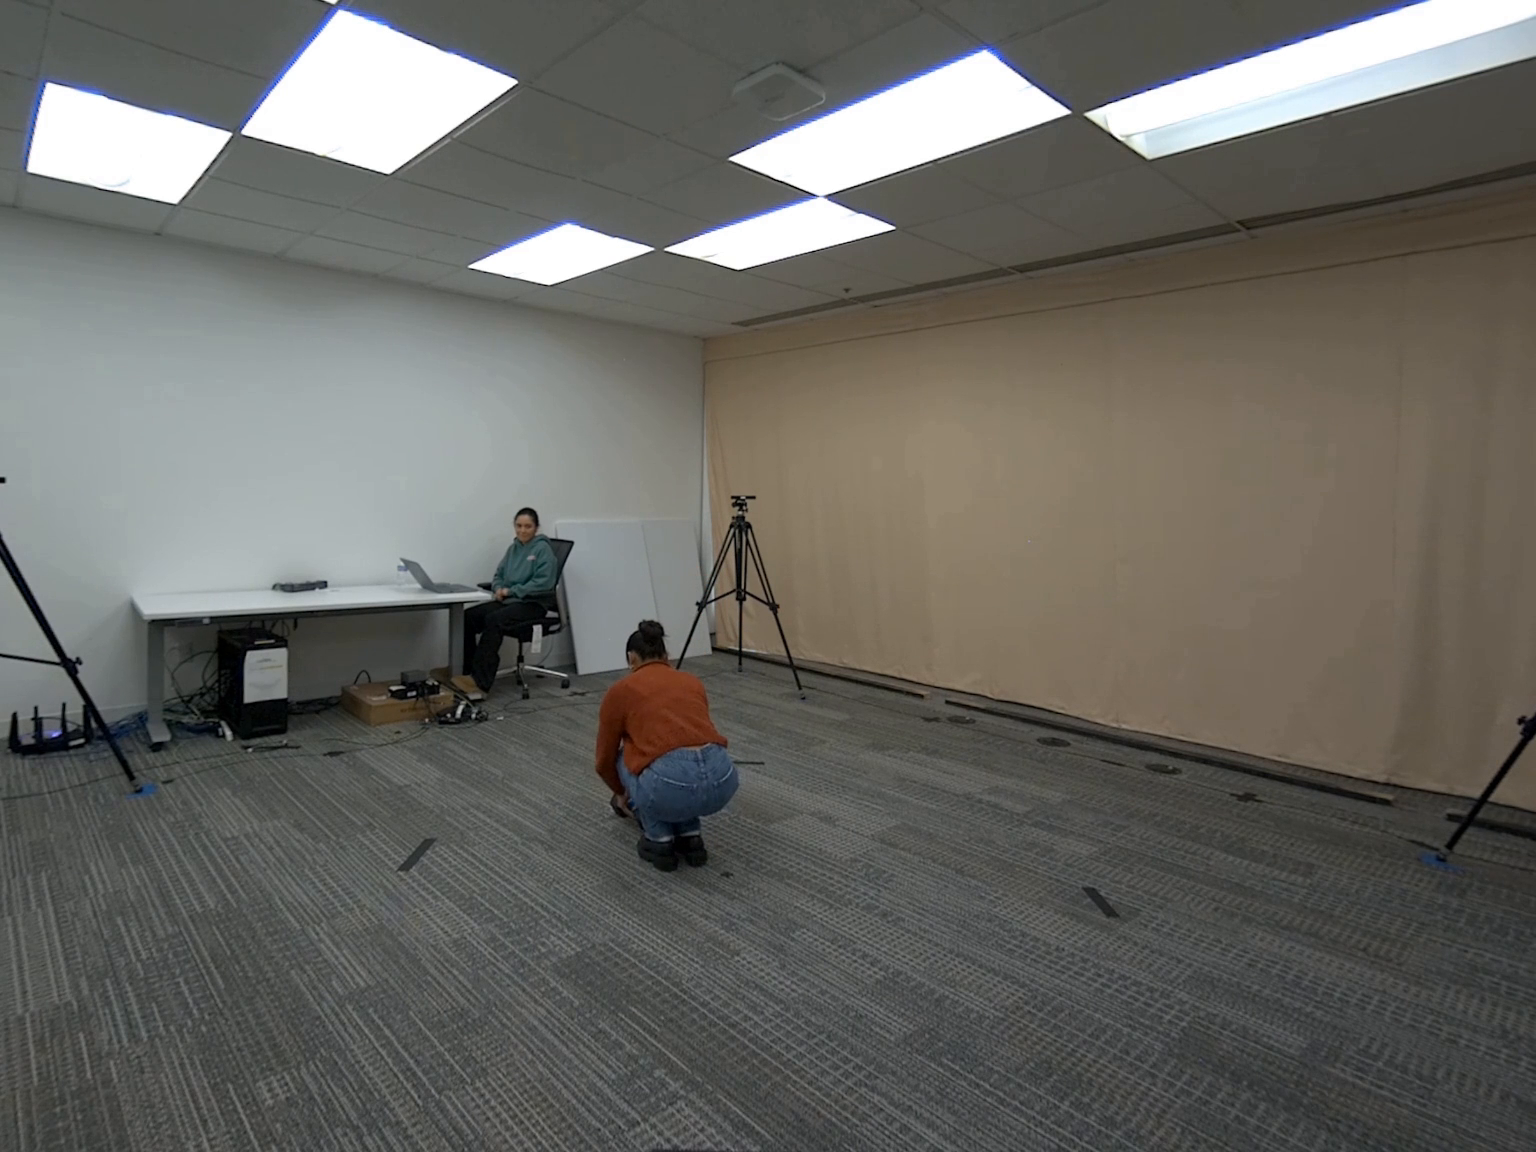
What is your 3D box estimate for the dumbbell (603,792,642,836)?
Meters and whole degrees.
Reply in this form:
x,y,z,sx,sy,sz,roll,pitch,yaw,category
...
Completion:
x,y,z,sx,sy,sz,roll,pitch,yaw,category
-0.558,0.999,3.589,0.108,0.120,0.301,-38,26,-31,dumbbell
